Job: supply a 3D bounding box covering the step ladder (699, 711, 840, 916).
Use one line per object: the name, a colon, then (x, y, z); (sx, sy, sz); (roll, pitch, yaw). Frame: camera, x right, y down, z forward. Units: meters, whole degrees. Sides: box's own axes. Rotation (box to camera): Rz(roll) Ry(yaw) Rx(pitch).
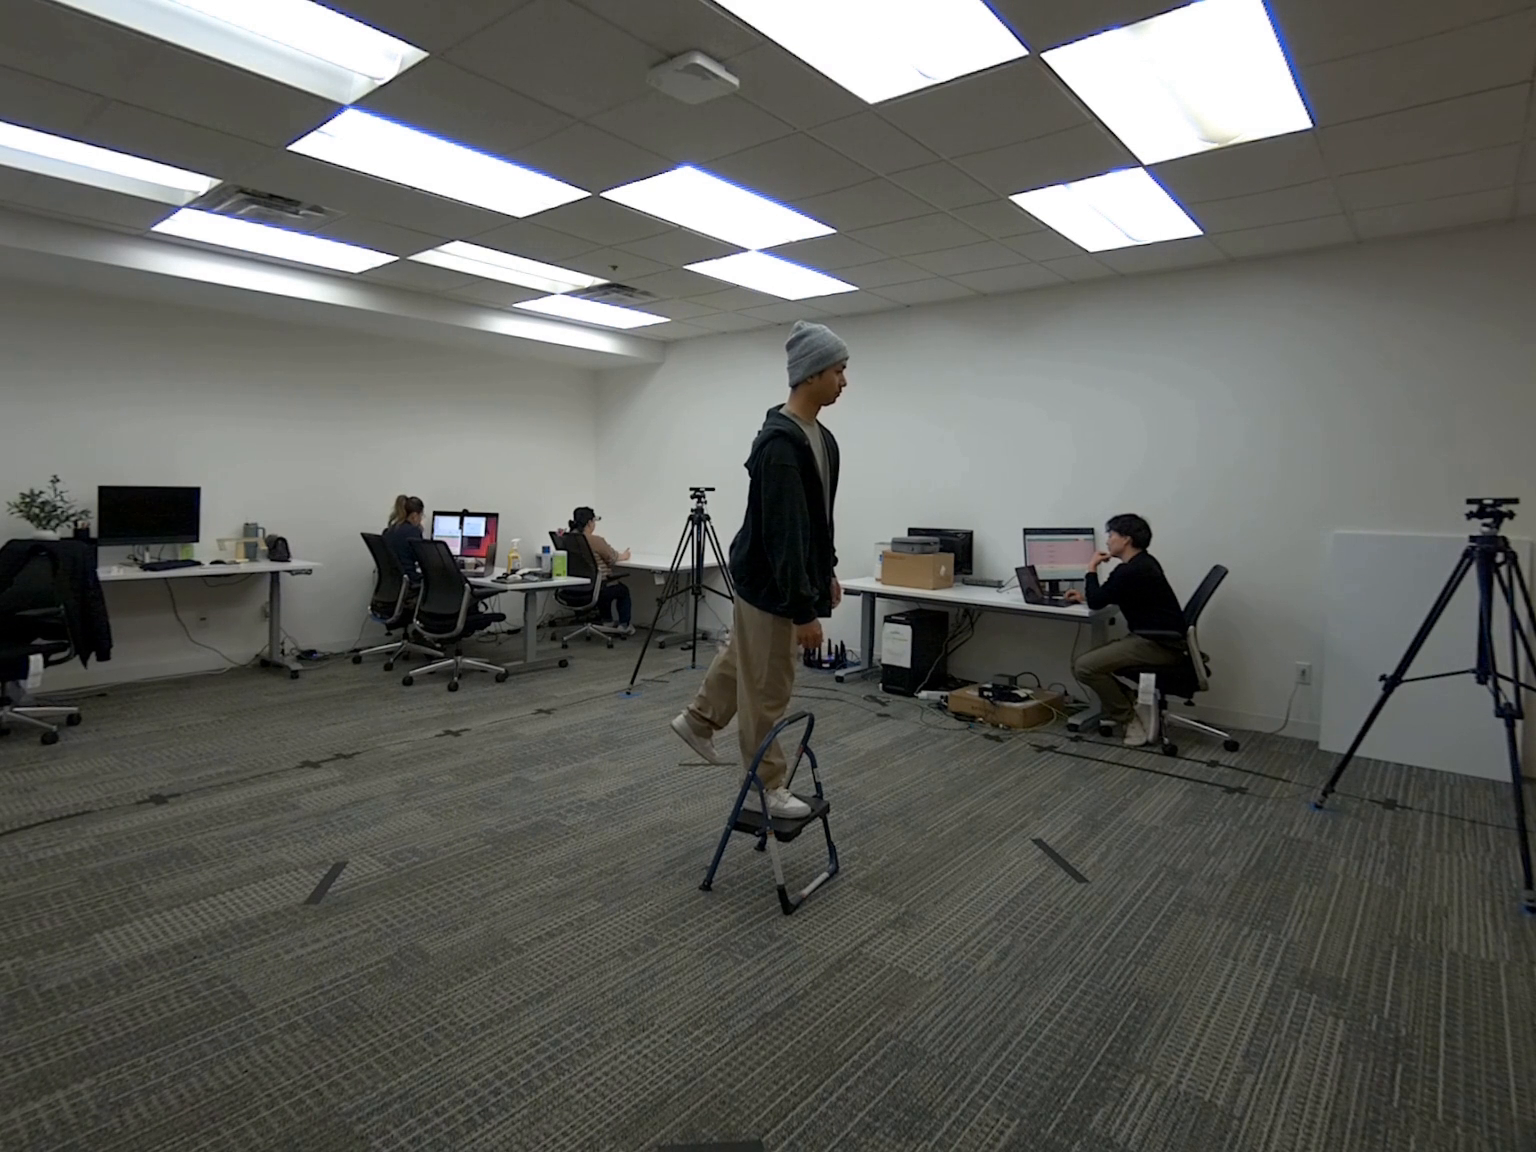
step ladder: (0.015, 0.779, 3.018); (0.359, 0.604, 0.420); (3, 4, 29)
